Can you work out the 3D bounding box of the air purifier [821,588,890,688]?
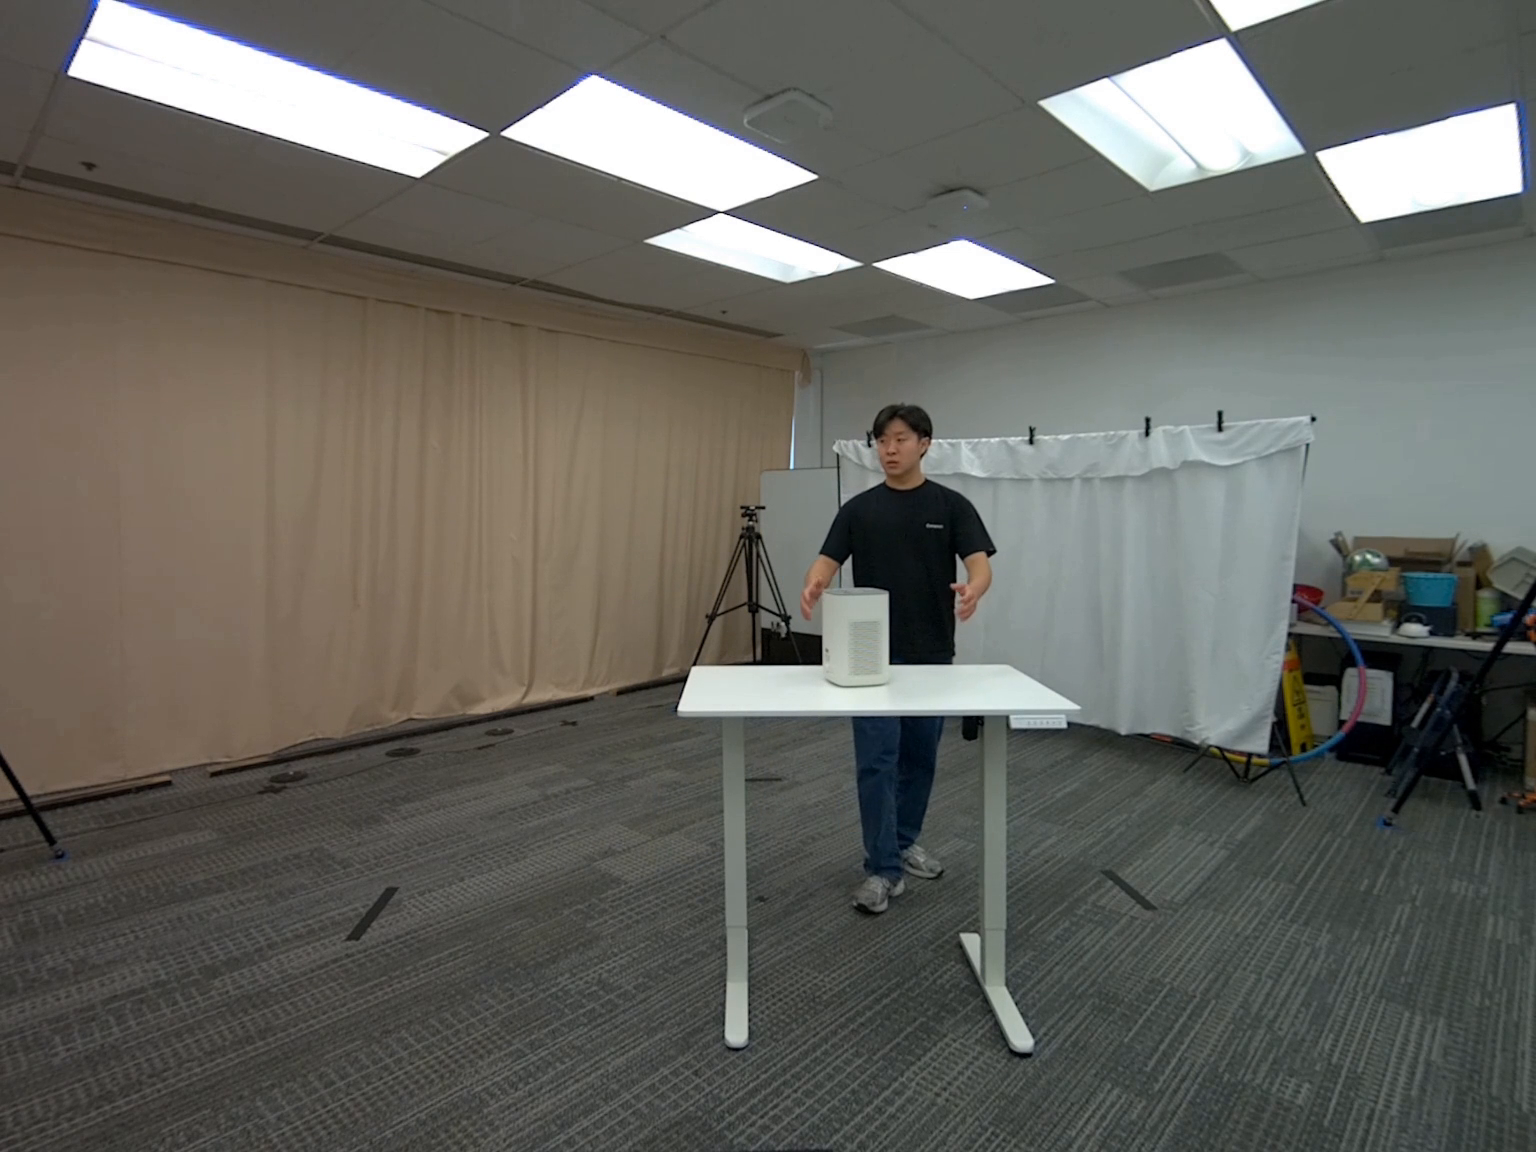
[{"bbox_3d":[0.255,0.181,2.416,0.170,0.265,0.173,-2,4,-9],"label":"air purifier"}]
